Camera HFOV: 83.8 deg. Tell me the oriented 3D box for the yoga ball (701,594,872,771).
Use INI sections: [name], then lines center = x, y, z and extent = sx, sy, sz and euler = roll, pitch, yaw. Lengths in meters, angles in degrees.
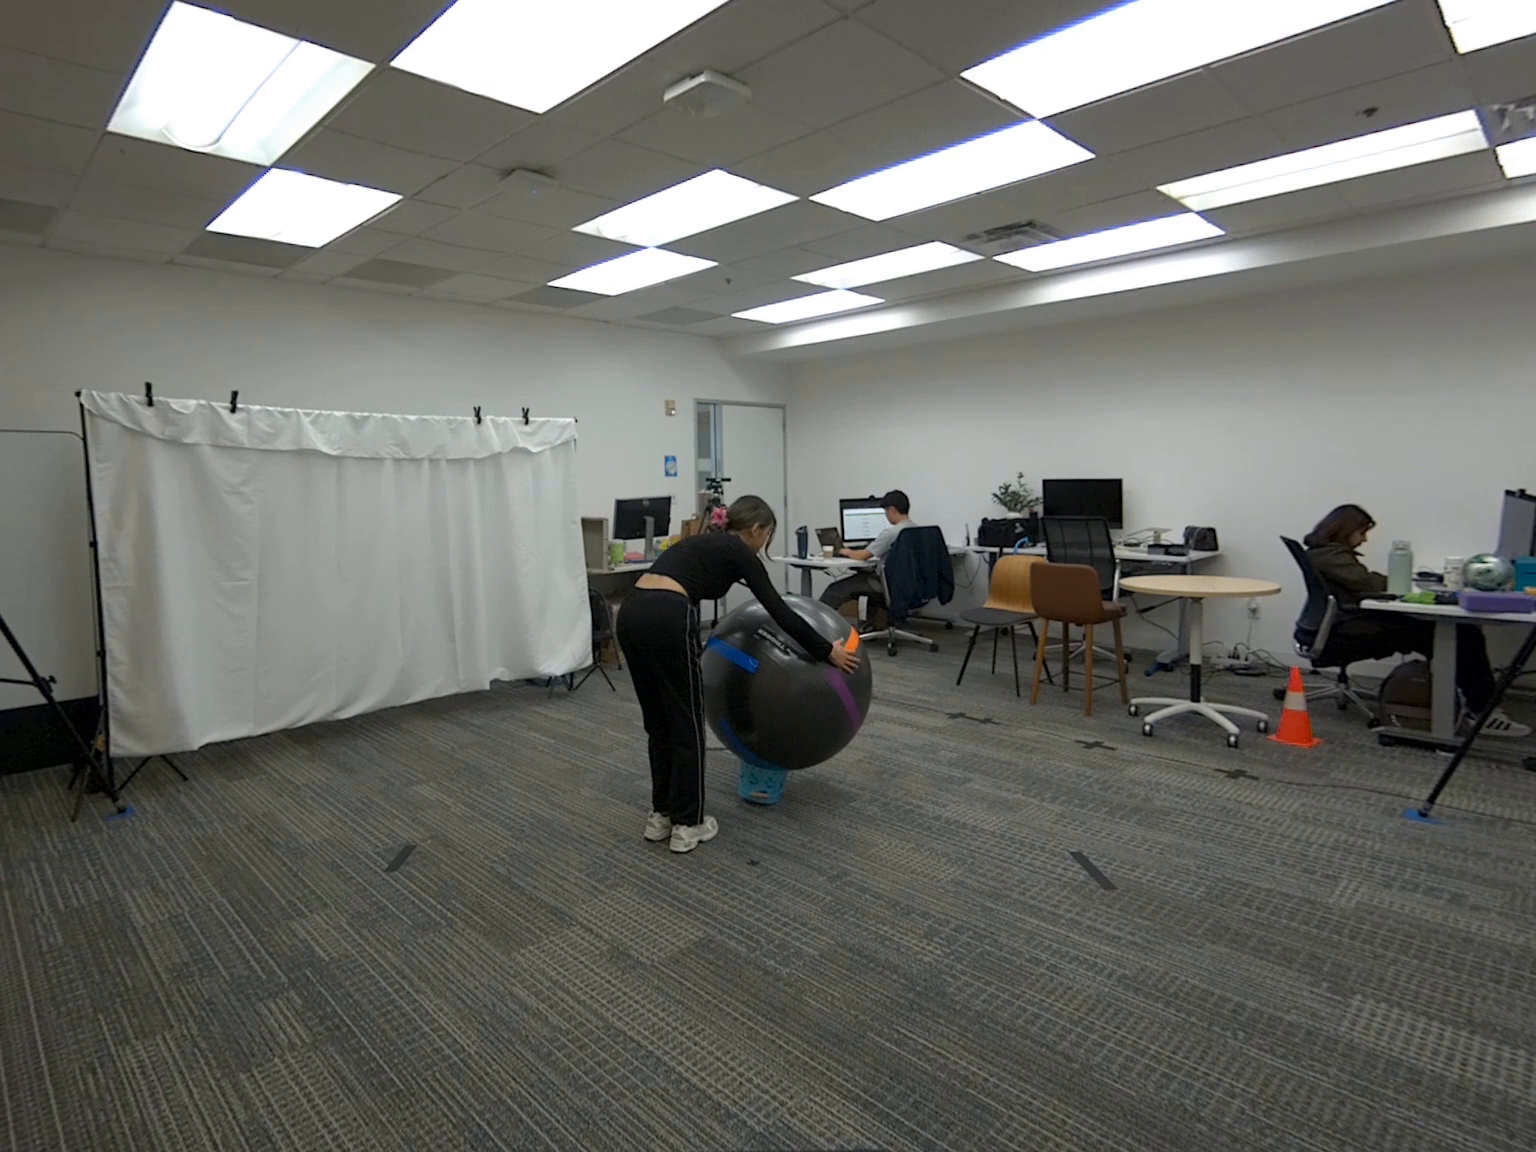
[yoga ball]
center = 0.071, 0.460, 3.717
extent = 0.757, 0.755, 0.762
euler = -1, 5, -2
